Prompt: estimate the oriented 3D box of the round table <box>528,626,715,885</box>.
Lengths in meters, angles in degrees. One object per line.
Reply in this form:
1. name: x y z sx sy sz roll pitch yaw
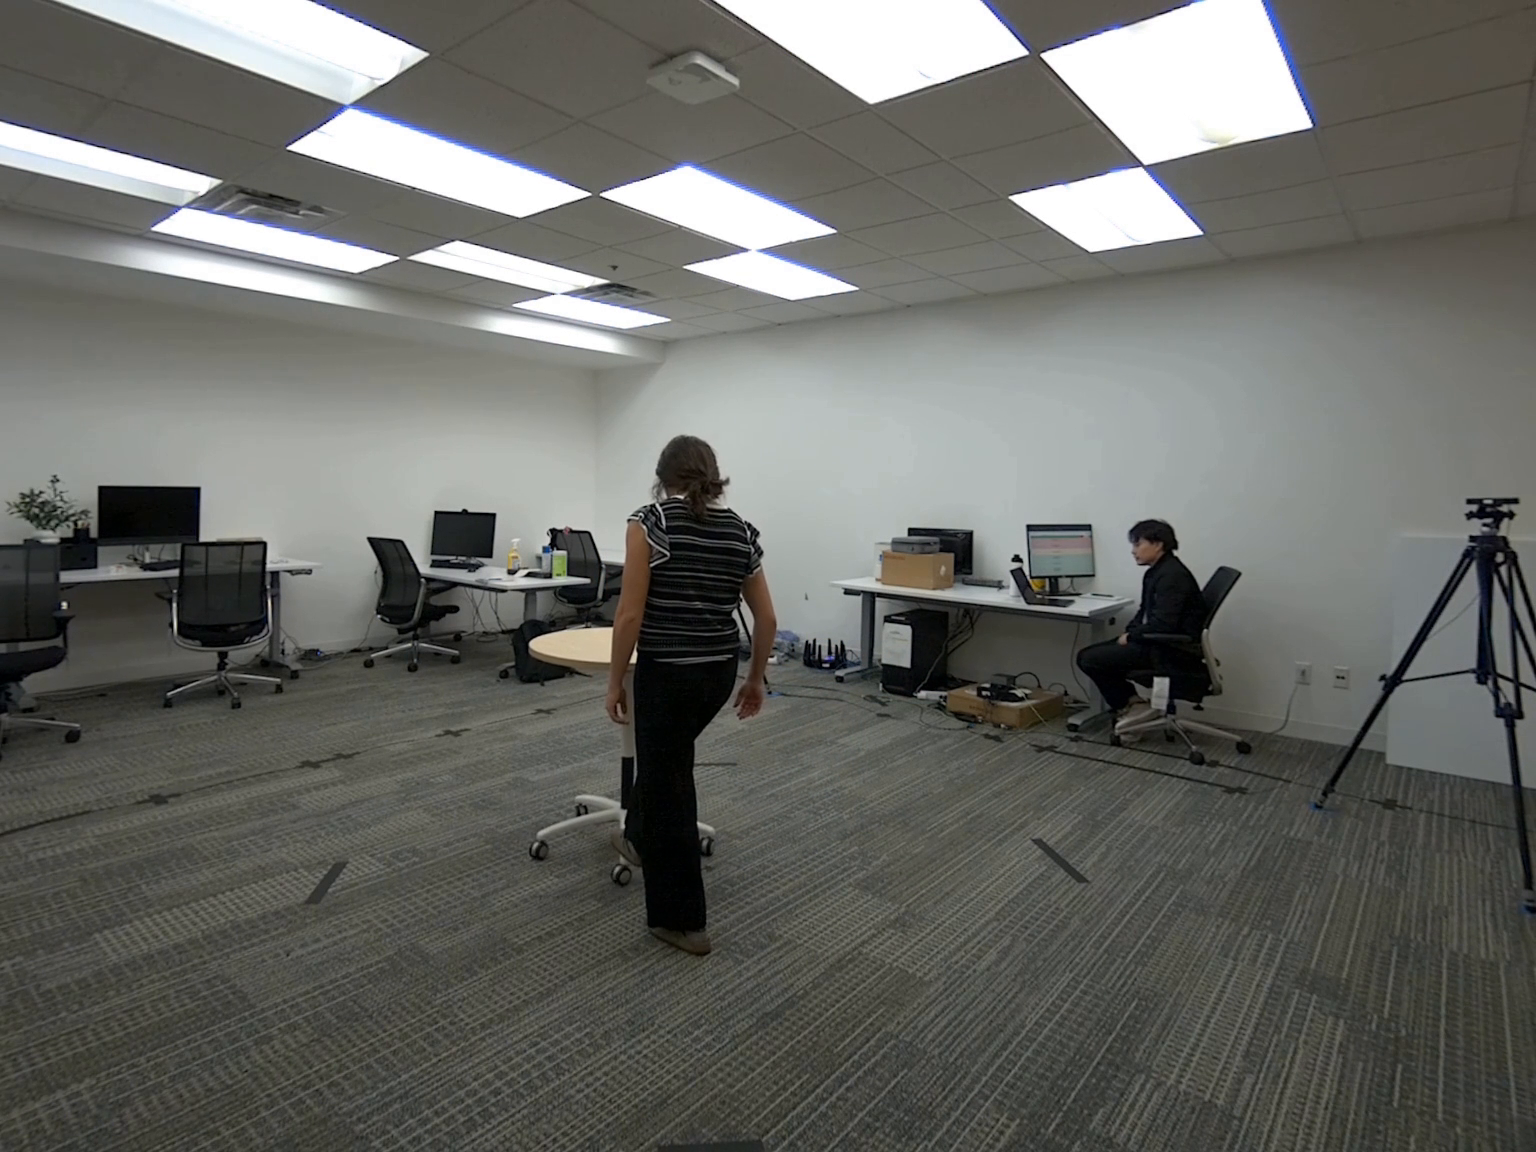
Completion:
1. round table: -0.569 0.647 3.298 0.784 0.784 0.789 2 4 -2
